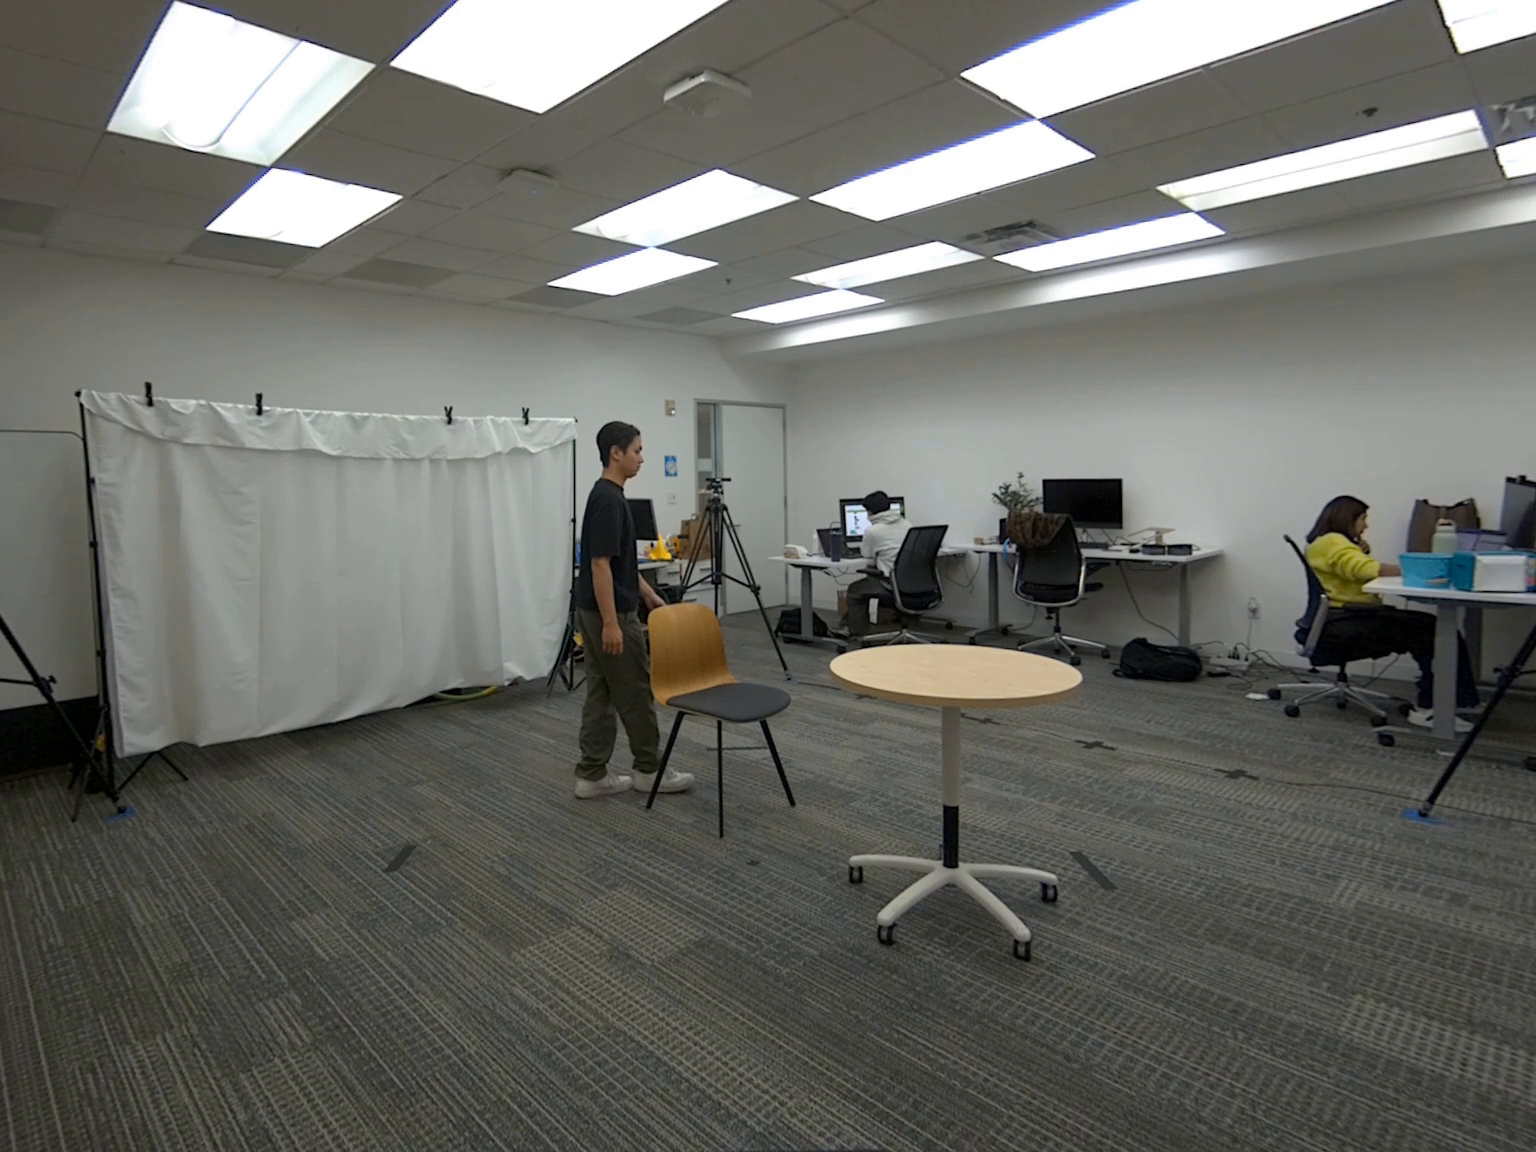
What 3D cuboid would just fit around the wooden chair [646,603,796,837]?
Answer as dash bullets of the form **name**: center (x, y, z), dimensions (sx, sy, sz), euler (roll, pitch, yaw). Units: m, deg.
- **wooden chair**: center (-0.202, 0.560, 3.596), dimensions (0.537, 0.877, 0.465), euler (-4, 0, 43)
